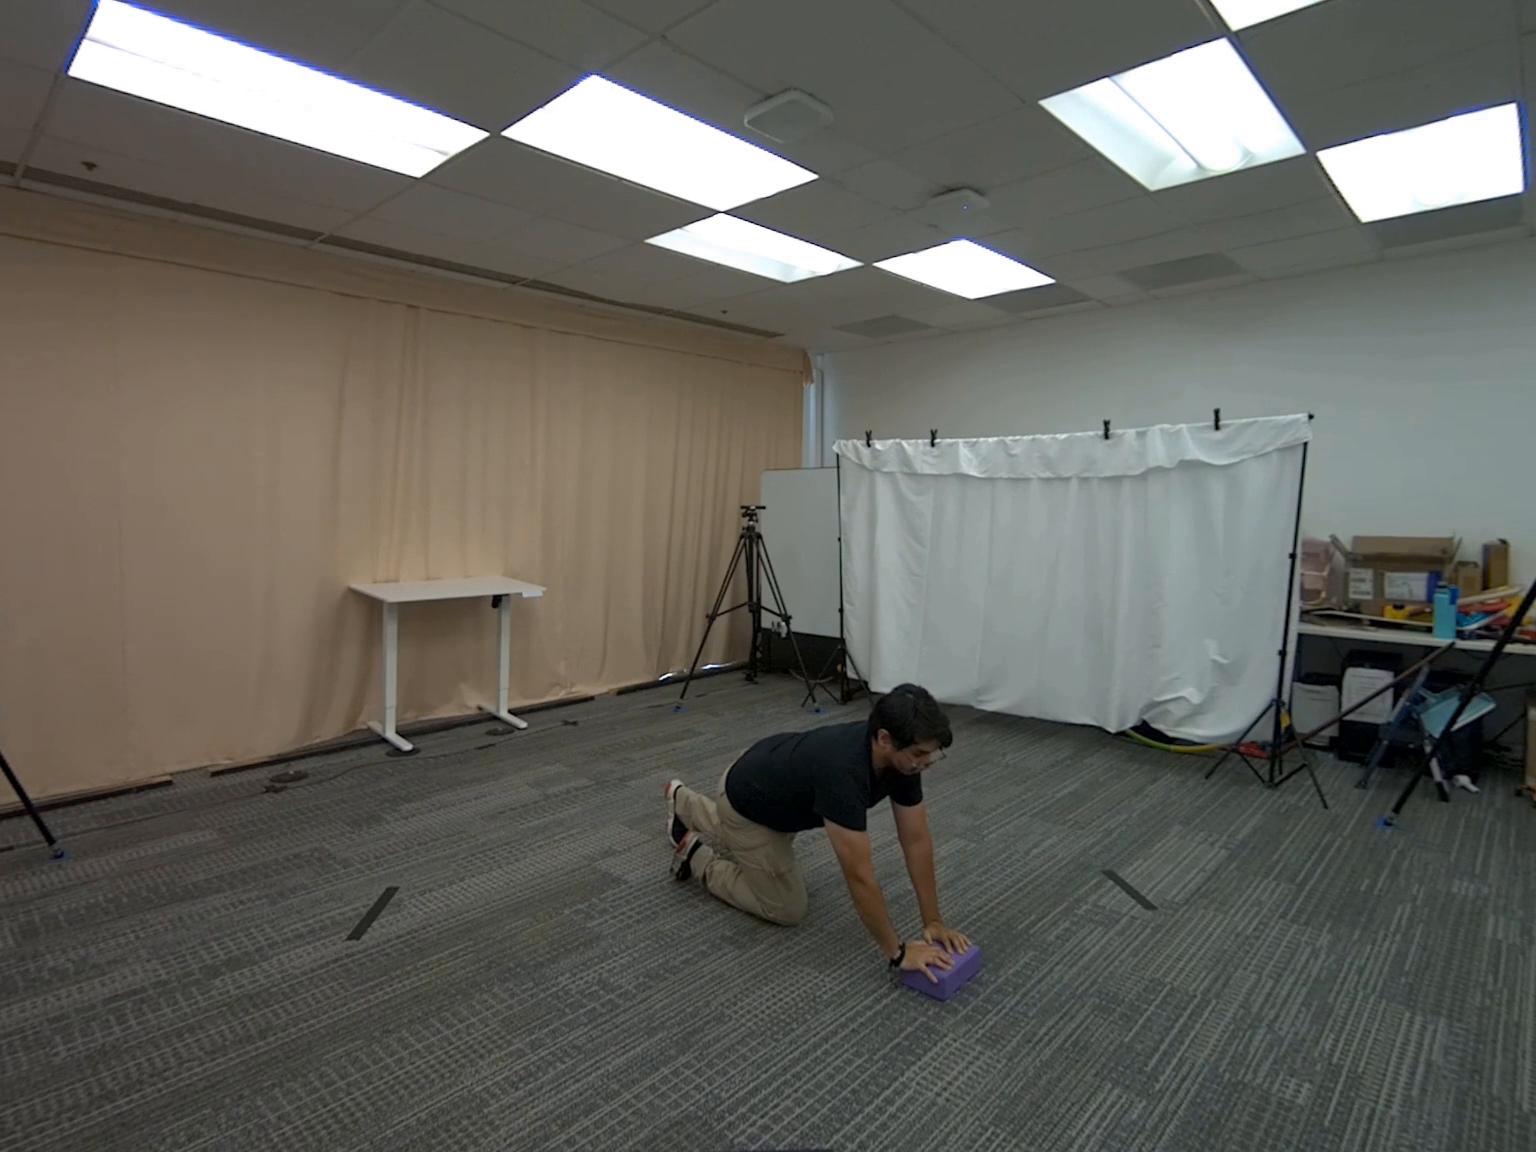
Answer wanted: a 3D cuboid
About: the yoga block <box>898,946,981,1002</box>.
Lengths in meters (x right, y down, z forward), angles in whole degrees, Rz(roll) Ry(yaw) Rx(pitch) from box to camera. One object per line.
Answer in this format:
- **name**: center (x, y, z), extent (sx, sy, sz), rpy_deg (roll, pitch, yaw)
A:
- **yoga block**: center (0.514, 1.147, 2.484), extent (0.154, 0.076, 0.222), rpy_deg (6, 7, 42)
